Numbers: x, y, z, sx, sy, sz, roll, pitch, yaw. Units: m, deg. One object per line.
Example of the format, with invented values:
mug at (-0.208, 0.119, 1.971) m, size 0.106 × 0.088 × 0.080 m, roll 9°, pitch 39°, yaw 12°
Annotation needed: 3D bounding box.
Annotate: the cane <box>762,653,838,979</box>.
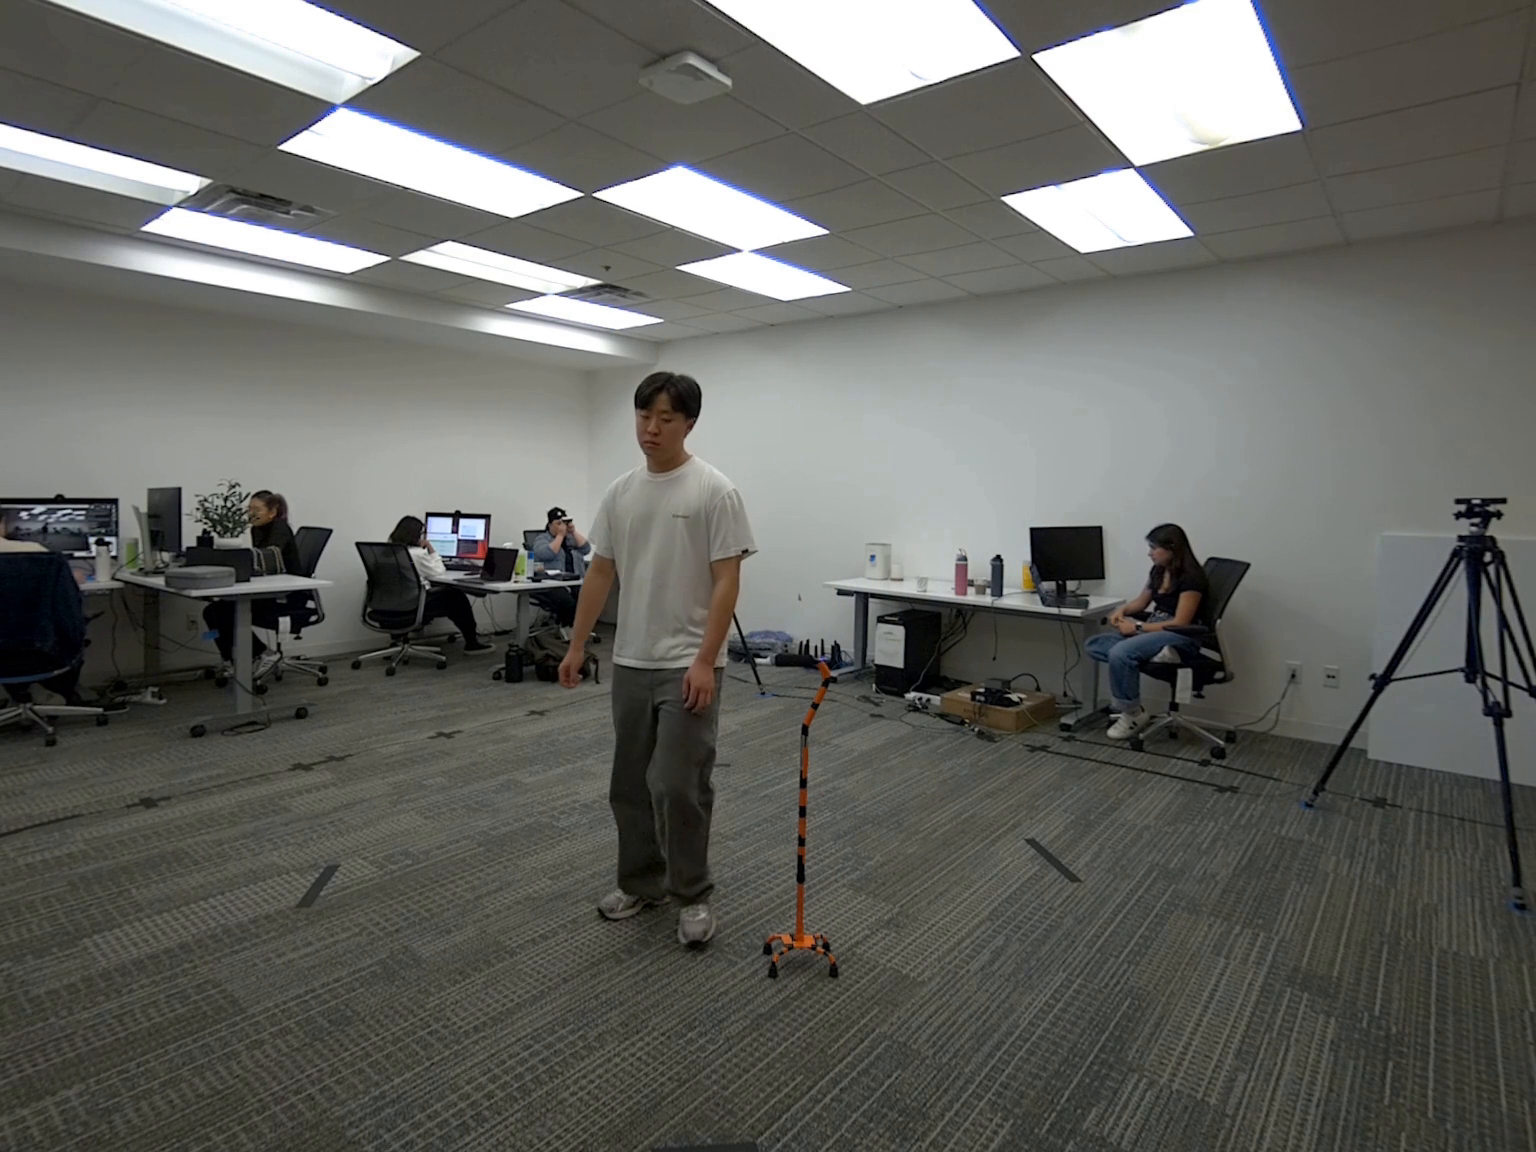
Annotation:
cane at (0.115, 0.685, 2.472) m, size 0.205 × 0.905 × 0.153 m, roll 2°, pitch 3°, yaw -5°
